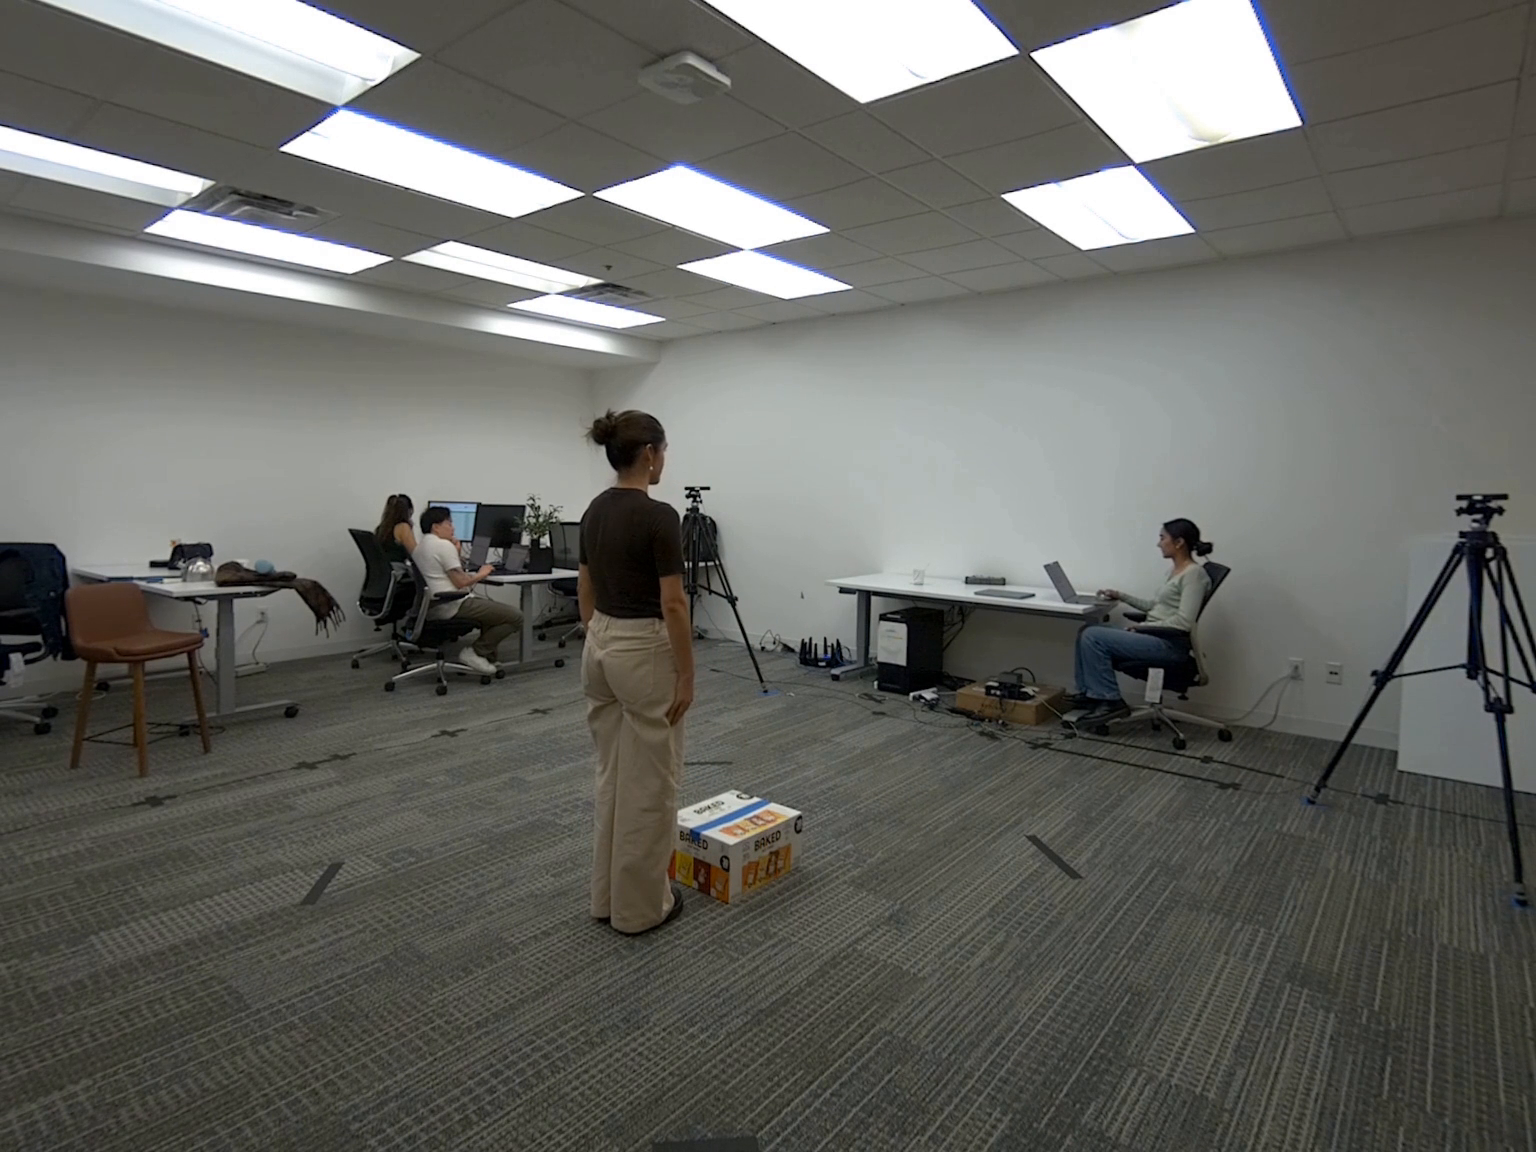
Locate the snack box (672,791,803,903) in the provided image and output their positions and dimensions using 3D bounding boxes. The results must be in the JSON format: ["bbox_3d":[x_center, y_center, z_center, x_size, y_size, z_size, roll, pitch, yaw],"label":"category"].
[{"bbox_3d":[-0.141,0.976,3.090,0.352,0.205,0.393,6,7,40],"label":"snack box"}]
